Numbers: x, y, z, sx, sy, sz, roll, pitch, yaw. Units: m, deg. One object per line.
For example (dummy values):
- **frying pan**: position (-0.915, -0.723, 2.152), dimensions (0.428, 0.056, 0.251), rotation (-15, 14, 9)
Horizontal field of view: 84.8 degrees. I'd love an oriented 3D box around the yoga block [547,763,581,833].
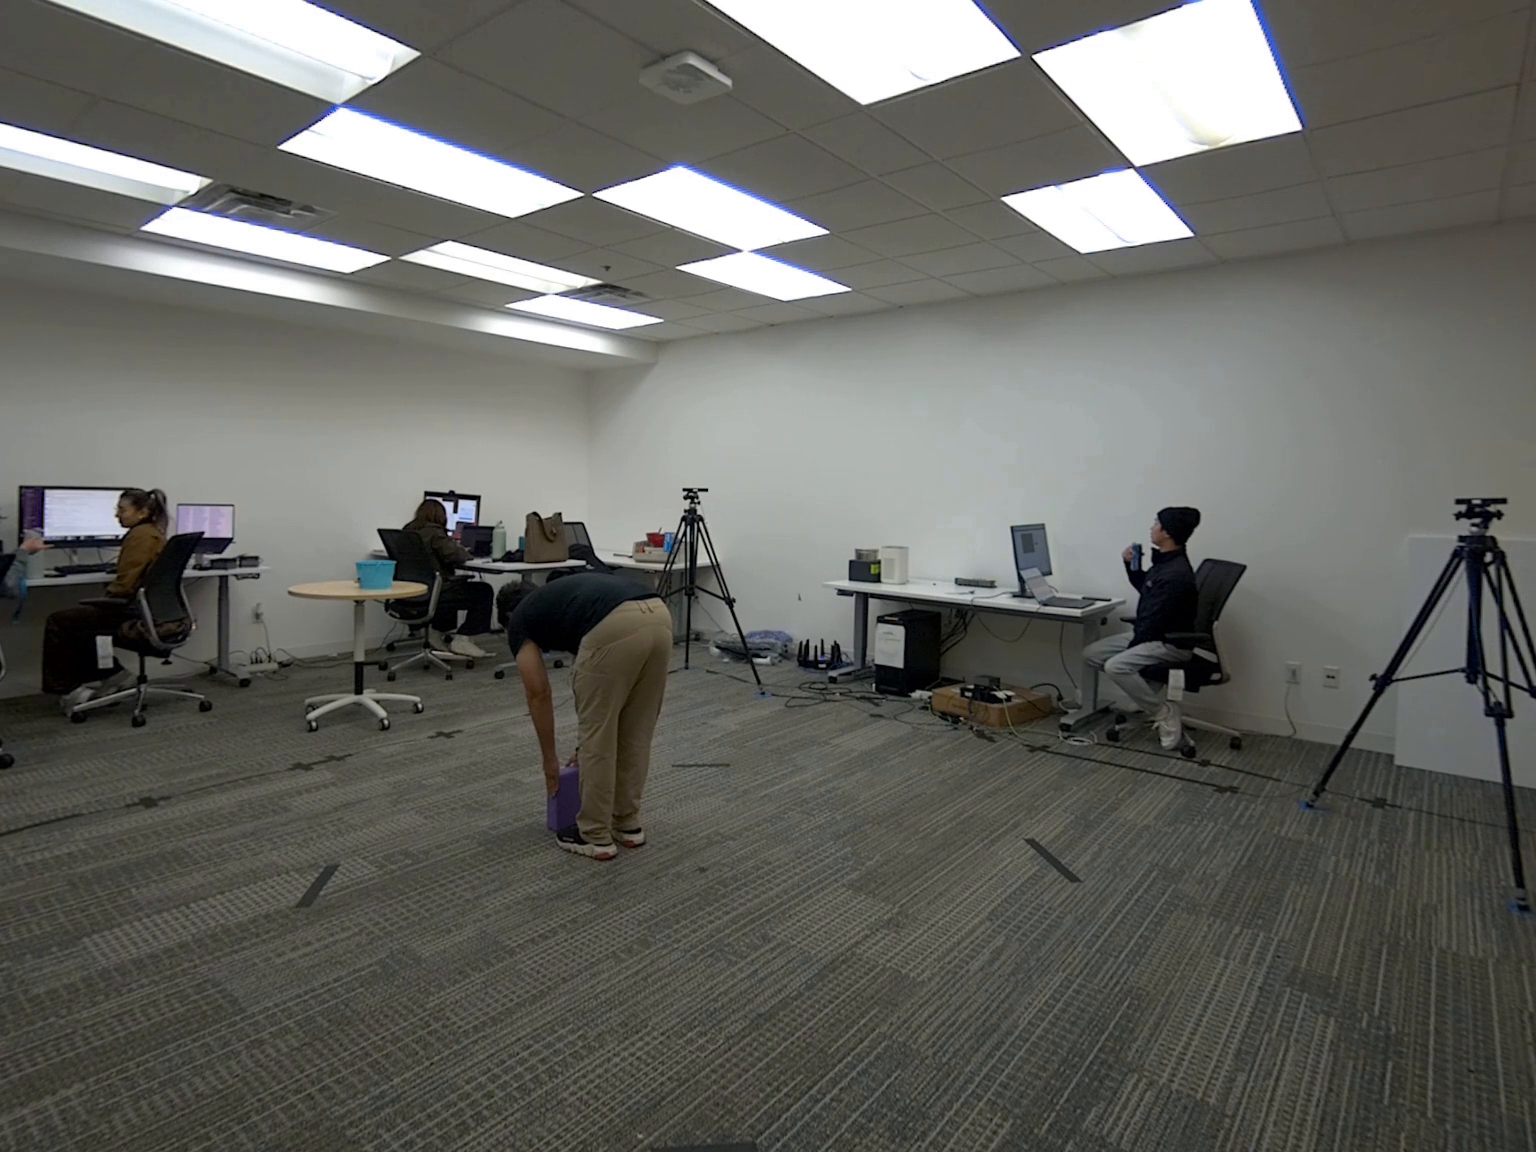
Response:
- **yoga block**: position (-0.839, 0.911, 3.487), dimensions (0.079, 0.229, 0.144), rotation (0, 3, 43)
